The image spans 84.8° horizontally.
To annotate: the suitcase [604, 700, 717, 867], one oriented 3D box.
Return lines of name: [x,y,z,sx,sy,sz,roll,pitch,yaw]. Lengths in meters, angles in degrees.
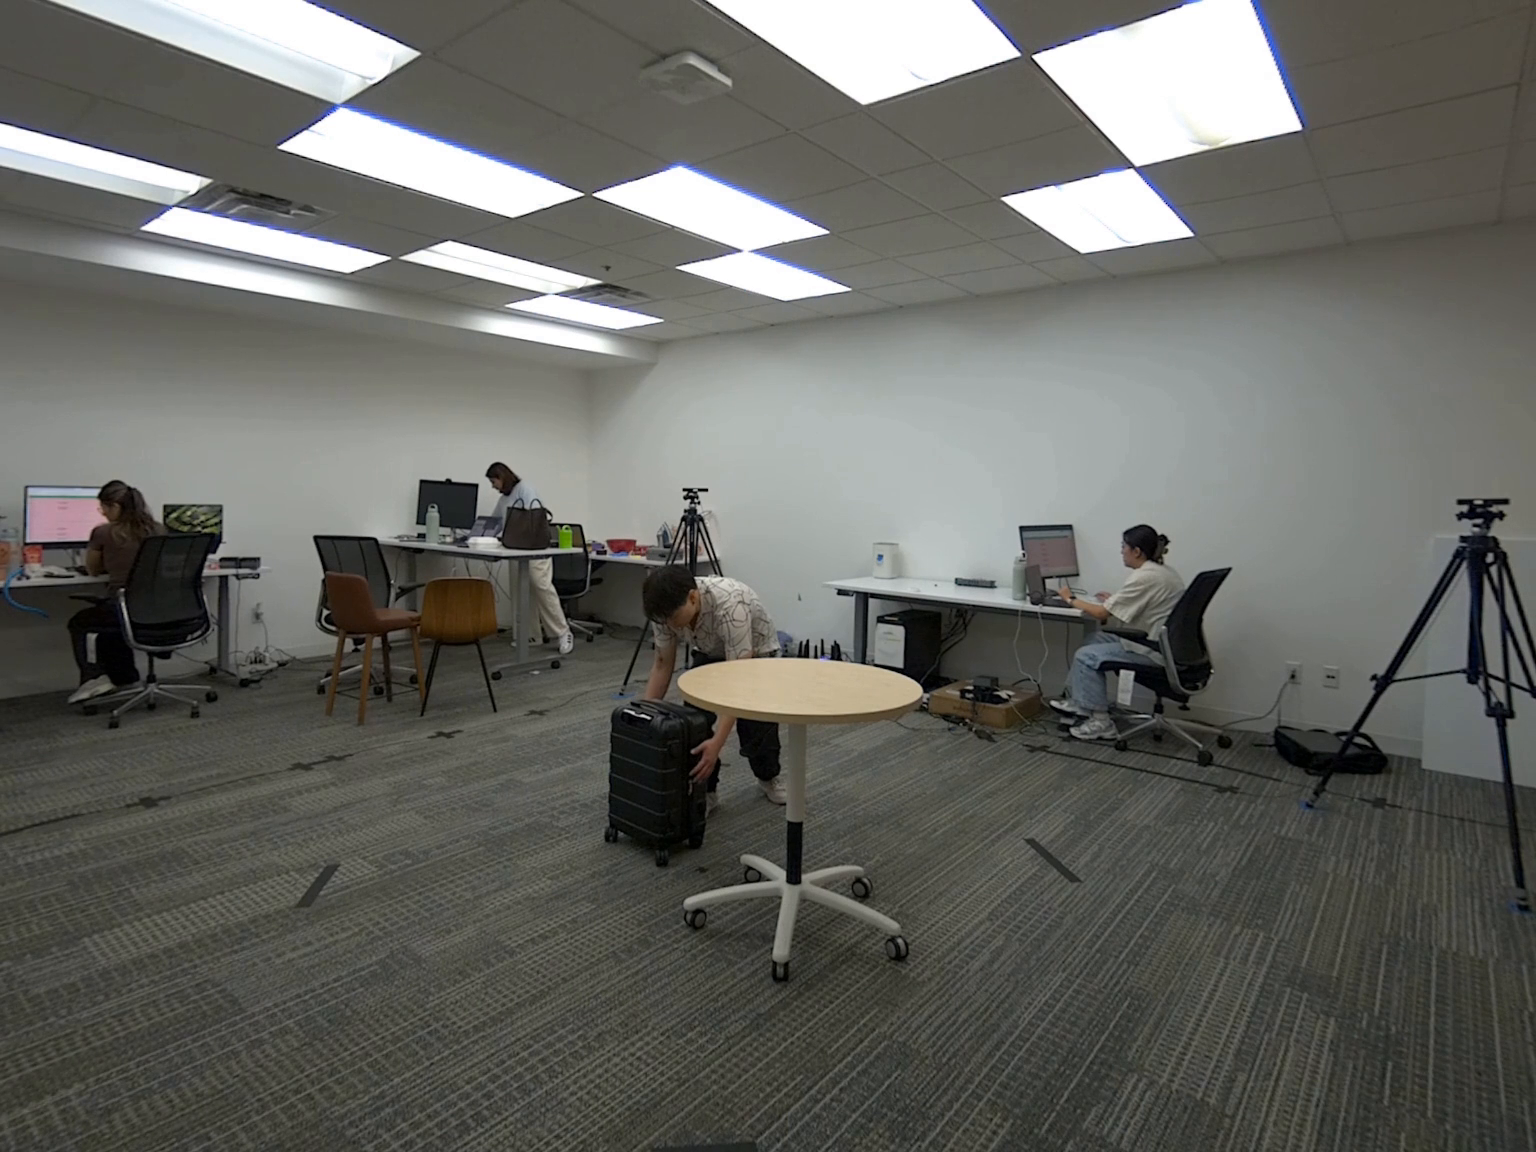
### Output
suitcase: [-0.450,0.770,3.327,0.388,0.548,0.240,3,3,43]
